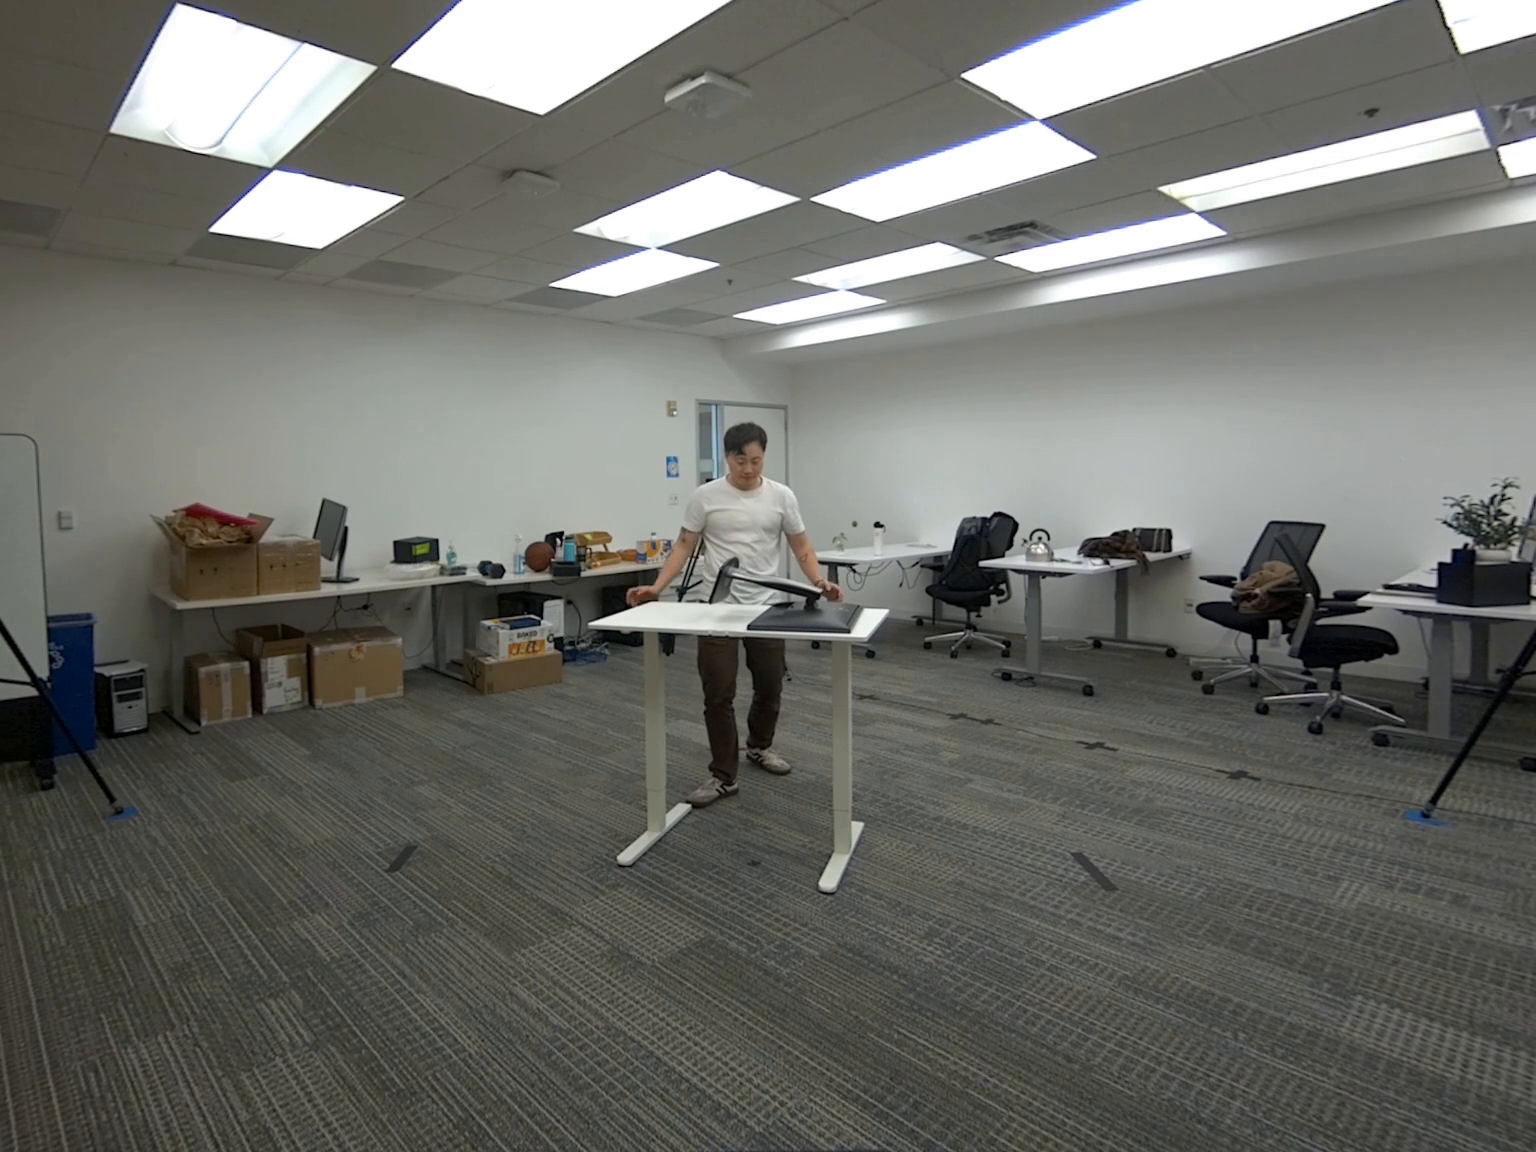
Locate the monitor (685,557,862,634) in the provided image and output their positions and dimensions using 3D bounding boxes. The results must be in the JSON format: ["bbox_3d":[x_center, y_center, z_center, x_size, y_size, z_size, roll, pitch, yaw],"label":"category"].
[{"bbox_3d":[0.070,0.096,3.142,0.530,0.186,0.534,19,11,11],"label":"monitor"}]
